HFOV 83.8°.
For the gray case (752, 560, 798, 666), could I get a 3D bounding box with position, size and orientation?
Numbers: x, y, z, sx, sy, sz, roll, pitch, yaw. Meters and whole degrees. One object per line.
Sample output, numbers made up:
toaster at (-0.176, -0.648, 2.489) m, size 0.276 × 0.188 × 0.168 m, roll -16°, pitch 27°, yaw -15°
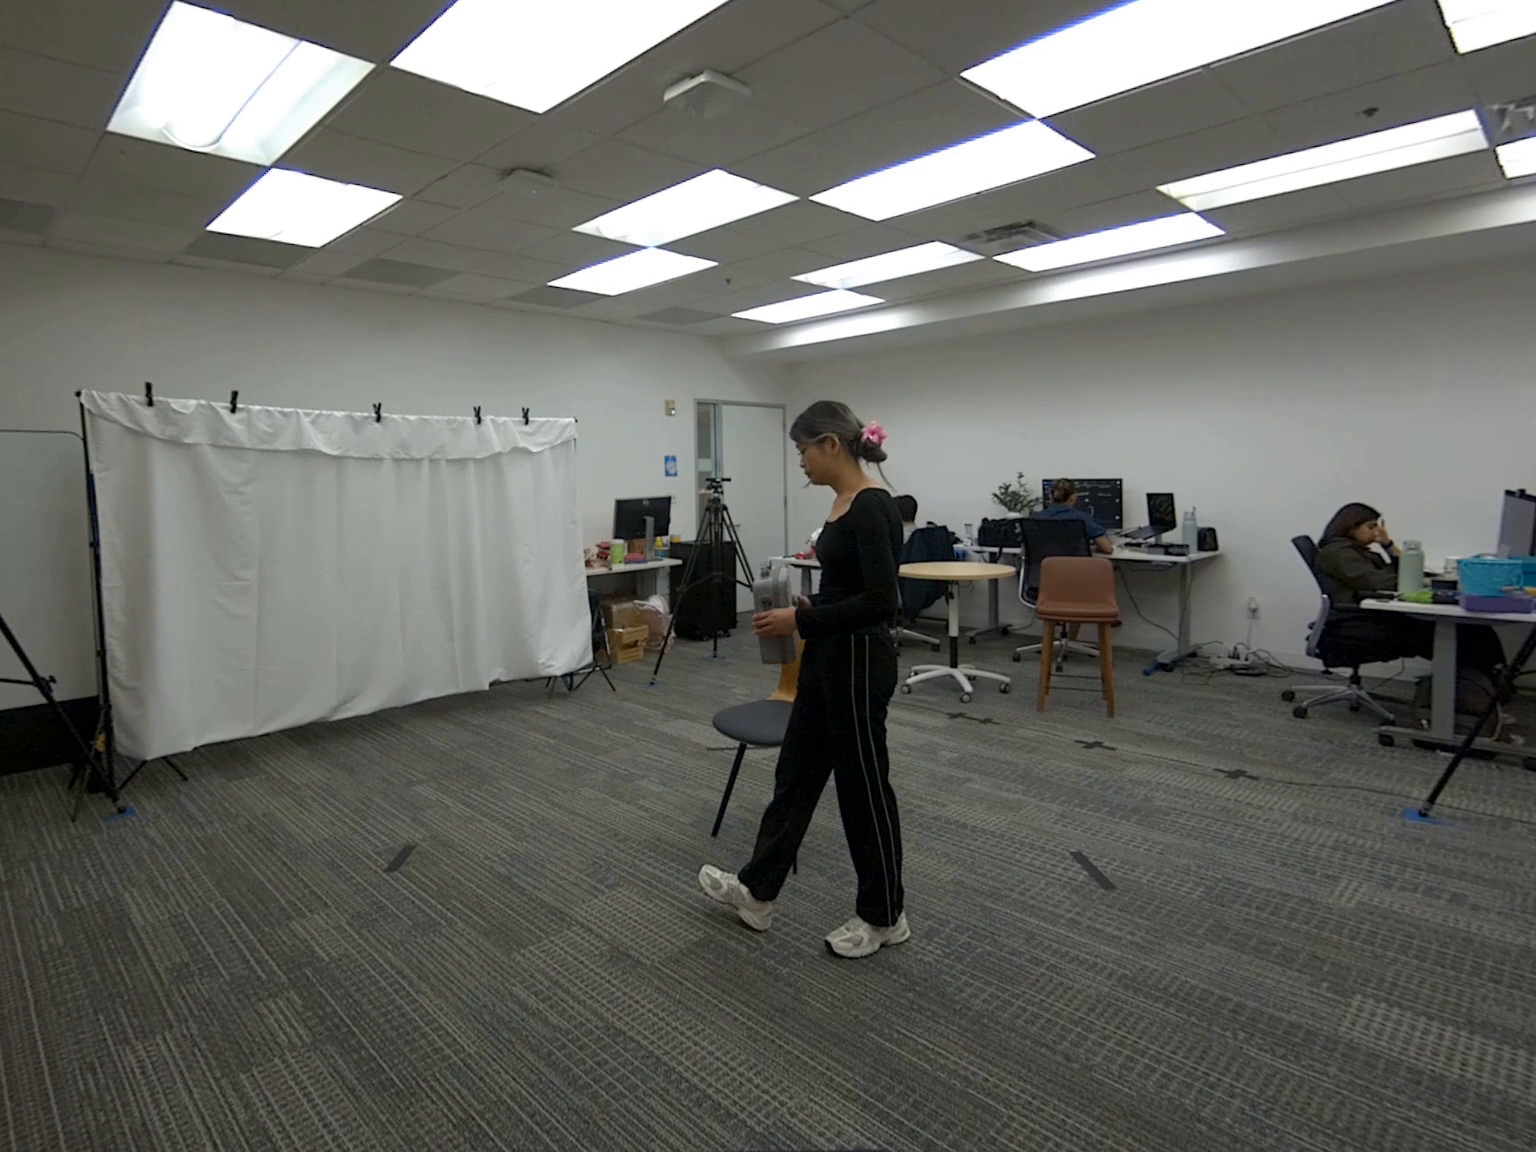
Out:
gray case at (0.020, 0.102, 2.535) m, size 0.105 × 0.259 × 0.257 m, roll -7°, pitch 8°, yaw 6°
